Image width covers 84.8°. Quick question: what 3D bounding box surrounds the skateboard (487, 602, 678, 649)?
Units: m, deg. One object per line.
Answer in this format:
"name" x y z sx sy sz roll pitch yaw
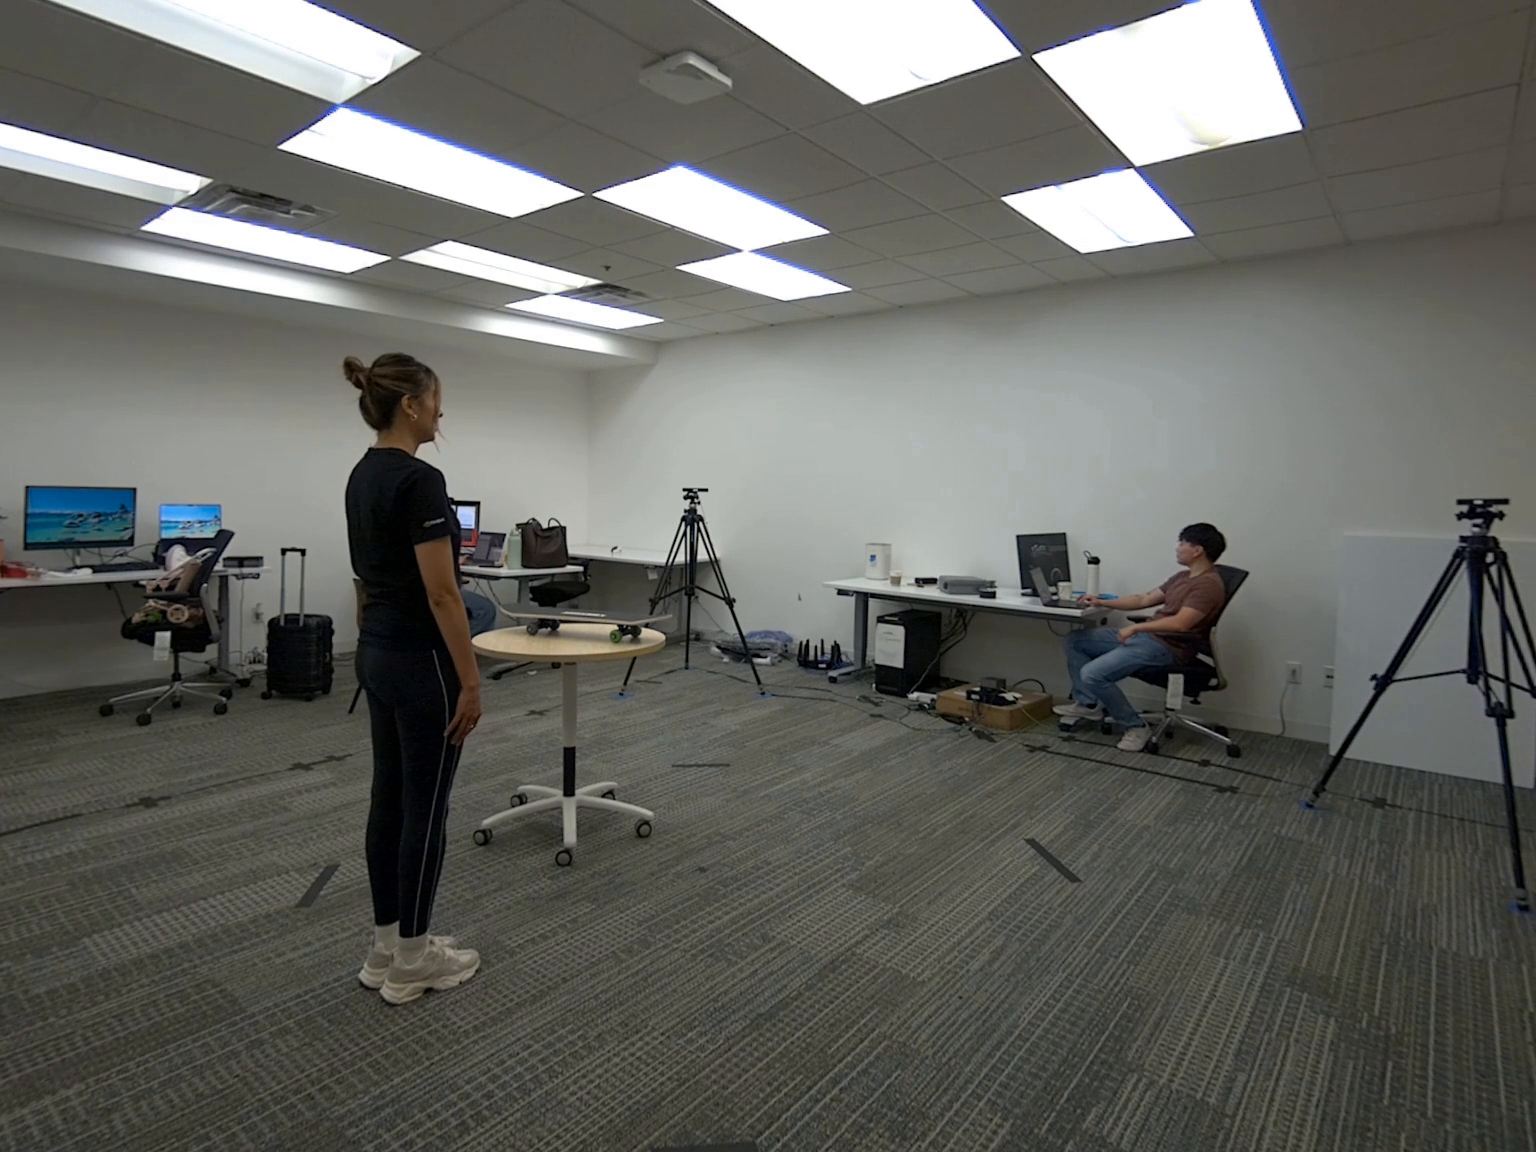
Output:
"skateboard" -0.771 0.193 3.448 0.804 0.110 0.189 3 4 23
